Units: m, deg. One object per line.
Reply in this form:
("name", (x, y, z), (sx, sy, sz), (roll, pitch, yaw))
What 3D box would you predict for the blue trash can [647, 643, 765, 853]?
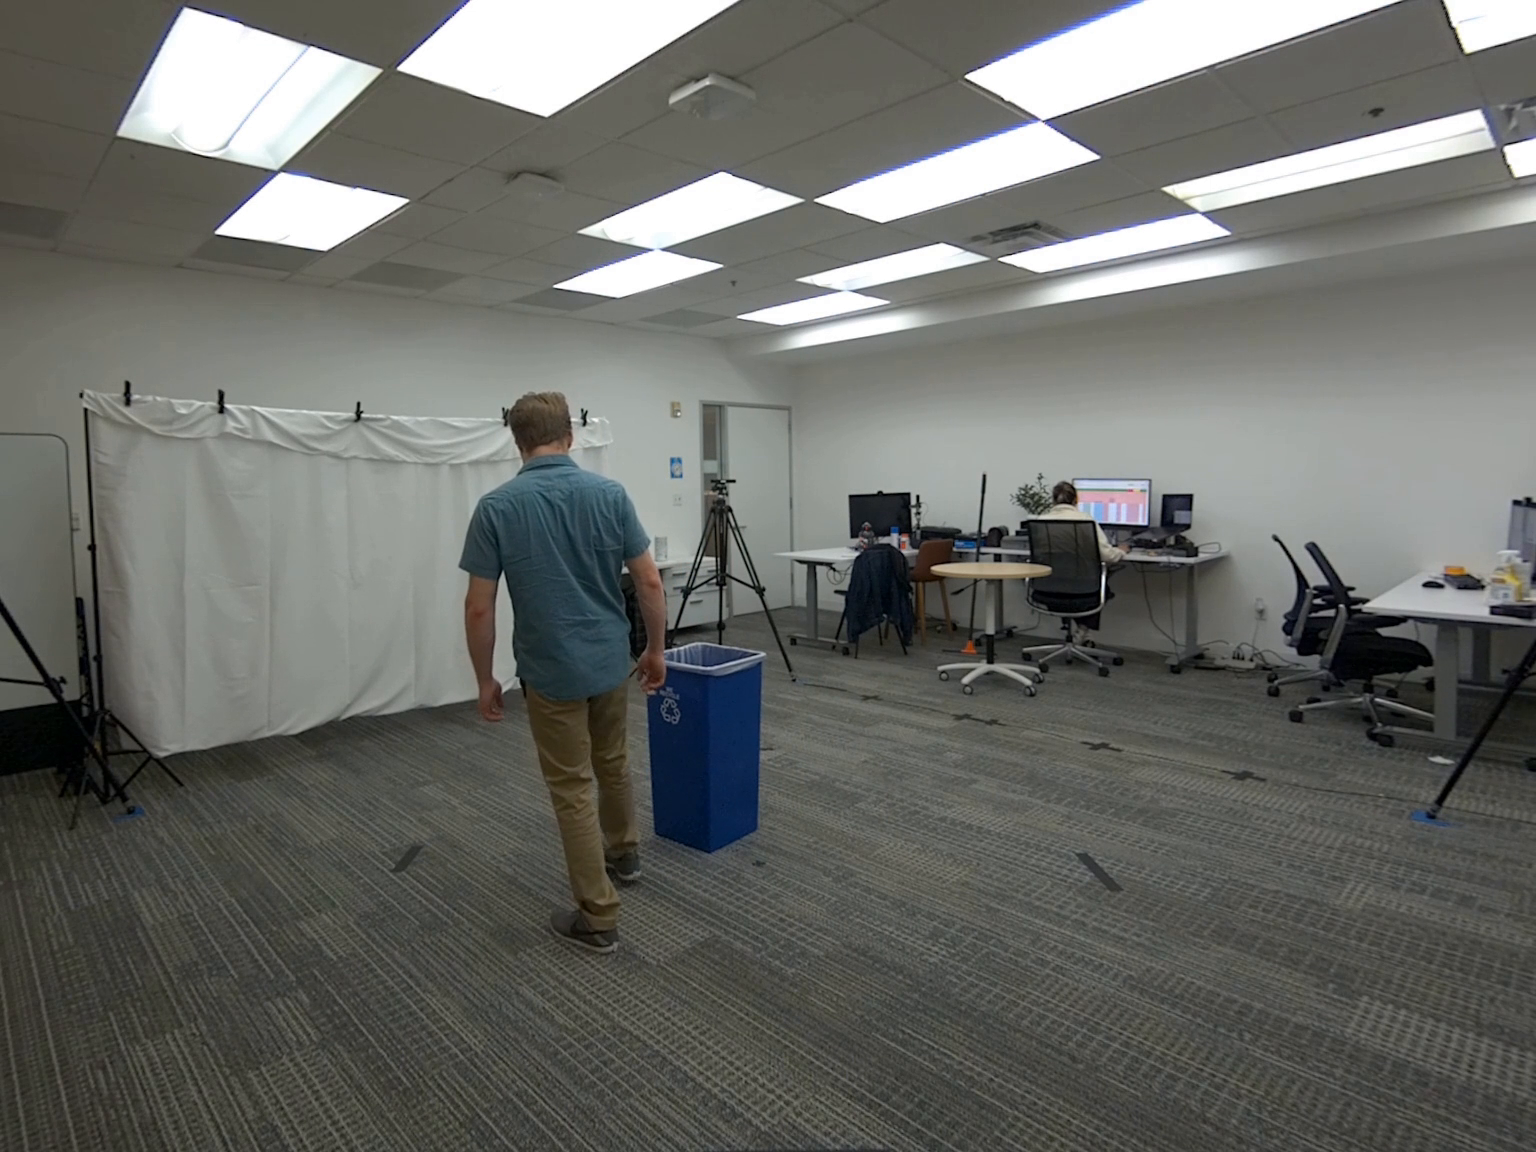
("blue trash can", (-0.239, 0.662, 3.380), (0.385, 0.711, 0.368), (3, 5, 39))
